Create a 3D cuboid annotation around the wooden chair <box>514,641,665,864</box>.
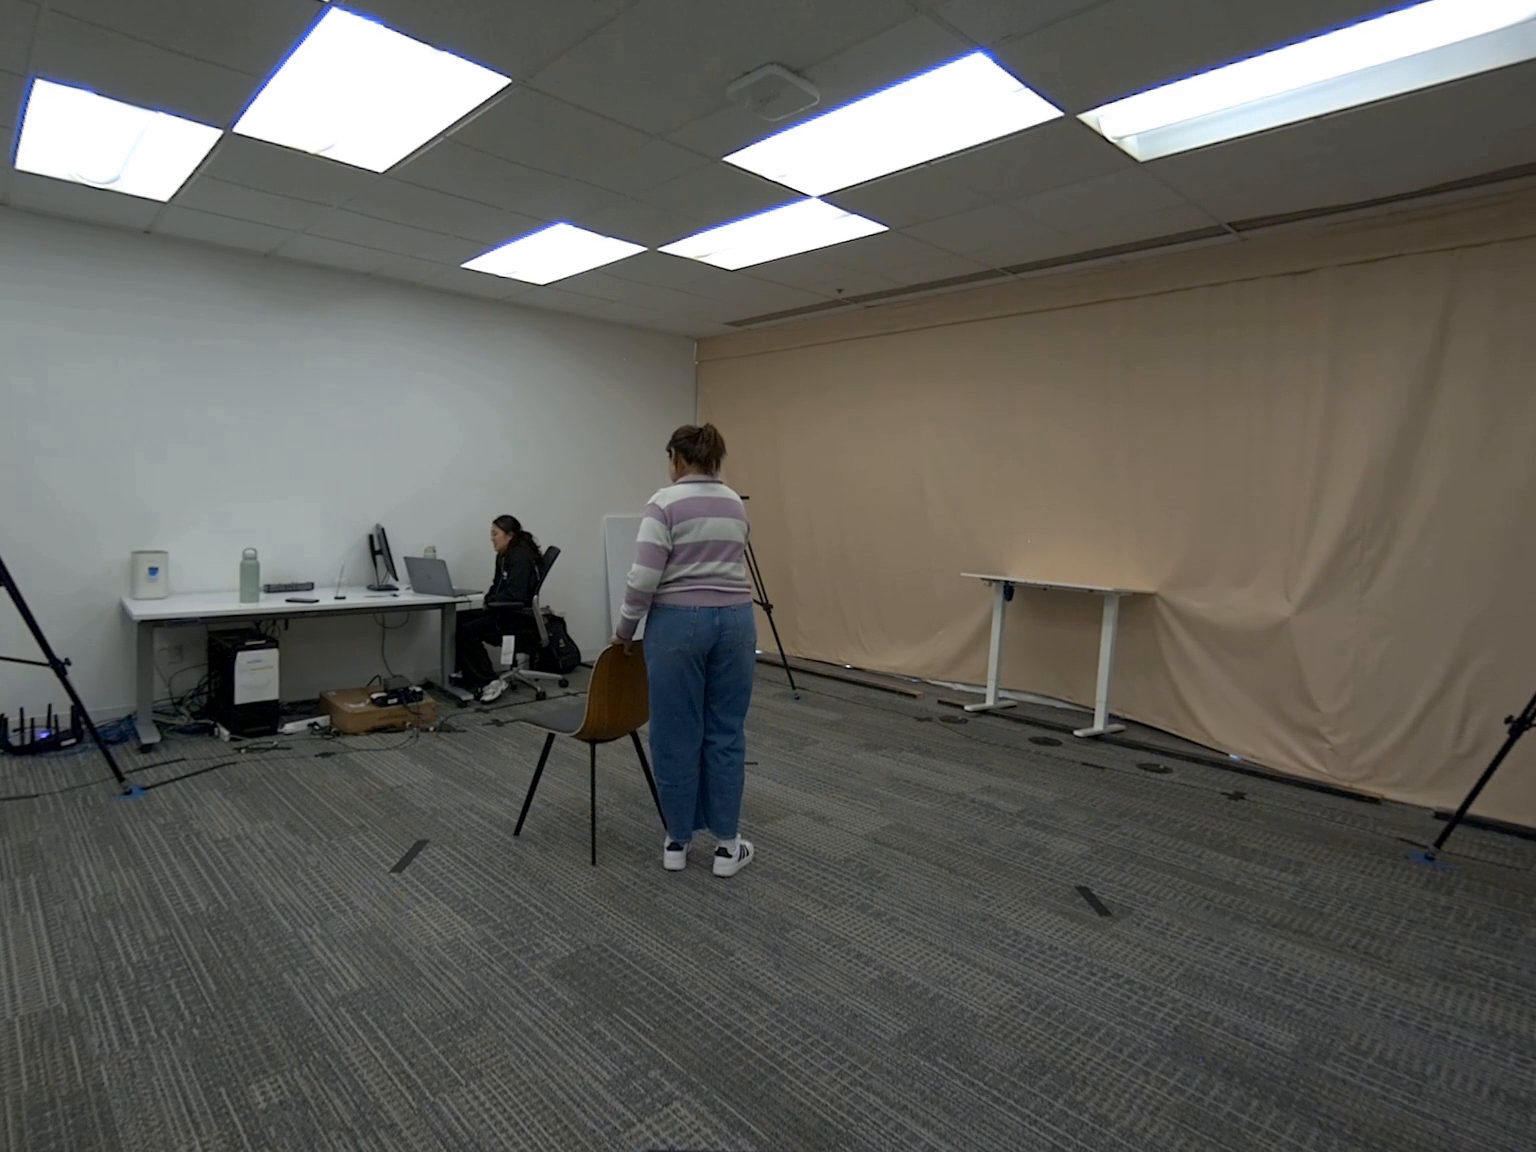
[{"bbox_3d":[-0.720,0.630,3.437,0.536,0.873,0.468,10,8,34],"label":"wooden chair"}]
